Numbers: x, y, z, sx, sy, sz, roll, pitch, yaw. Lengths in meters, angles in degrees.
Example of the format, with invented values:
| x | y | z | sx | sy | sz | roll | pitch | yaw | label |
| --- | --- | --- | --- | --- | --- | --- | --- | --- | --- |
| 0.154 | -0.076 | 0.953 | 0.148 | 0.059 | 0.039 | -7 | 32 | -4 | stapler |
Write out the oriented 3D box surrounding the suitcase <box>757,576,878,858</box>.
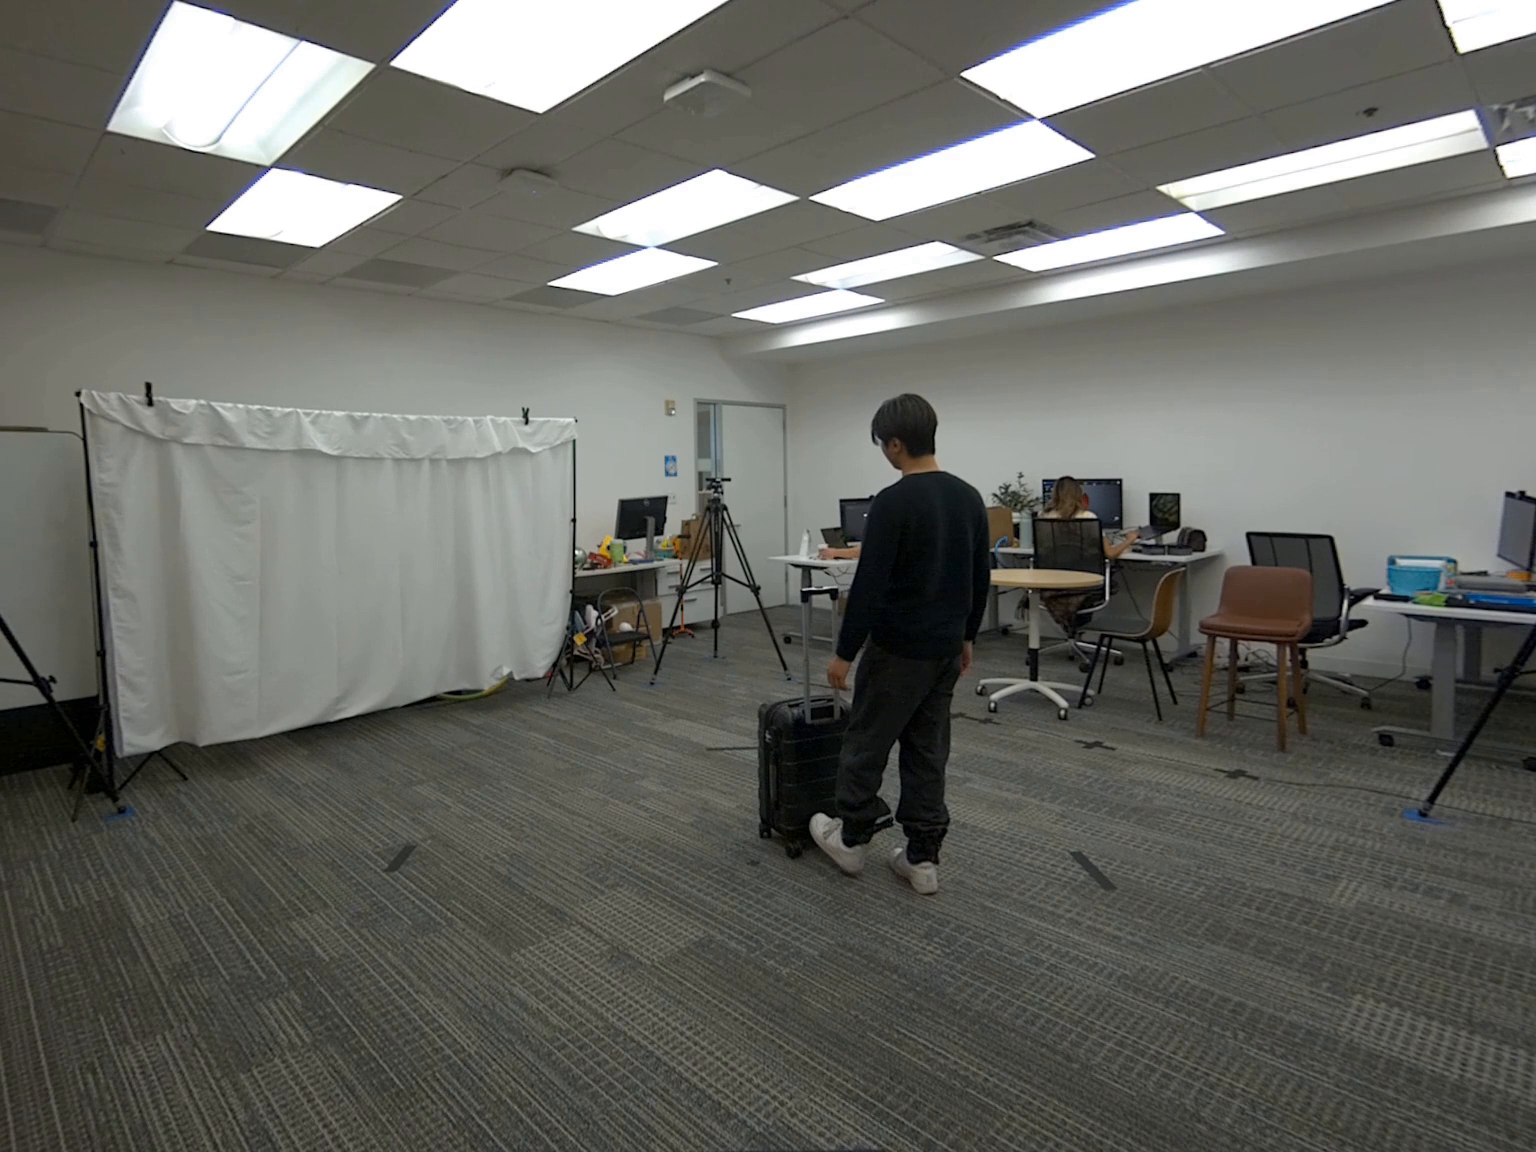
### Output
| x | y | z | sx | sy | sz | roll | pitch | yaw | label |
| --- | --- | --- | --- | --- | --- | --- | --- | --- | --- |
| 0.148 | 0.538 | 3.311 | 0.376 | 0.978 | 0.262 | -2 | 1 | -23 | suitcase |
